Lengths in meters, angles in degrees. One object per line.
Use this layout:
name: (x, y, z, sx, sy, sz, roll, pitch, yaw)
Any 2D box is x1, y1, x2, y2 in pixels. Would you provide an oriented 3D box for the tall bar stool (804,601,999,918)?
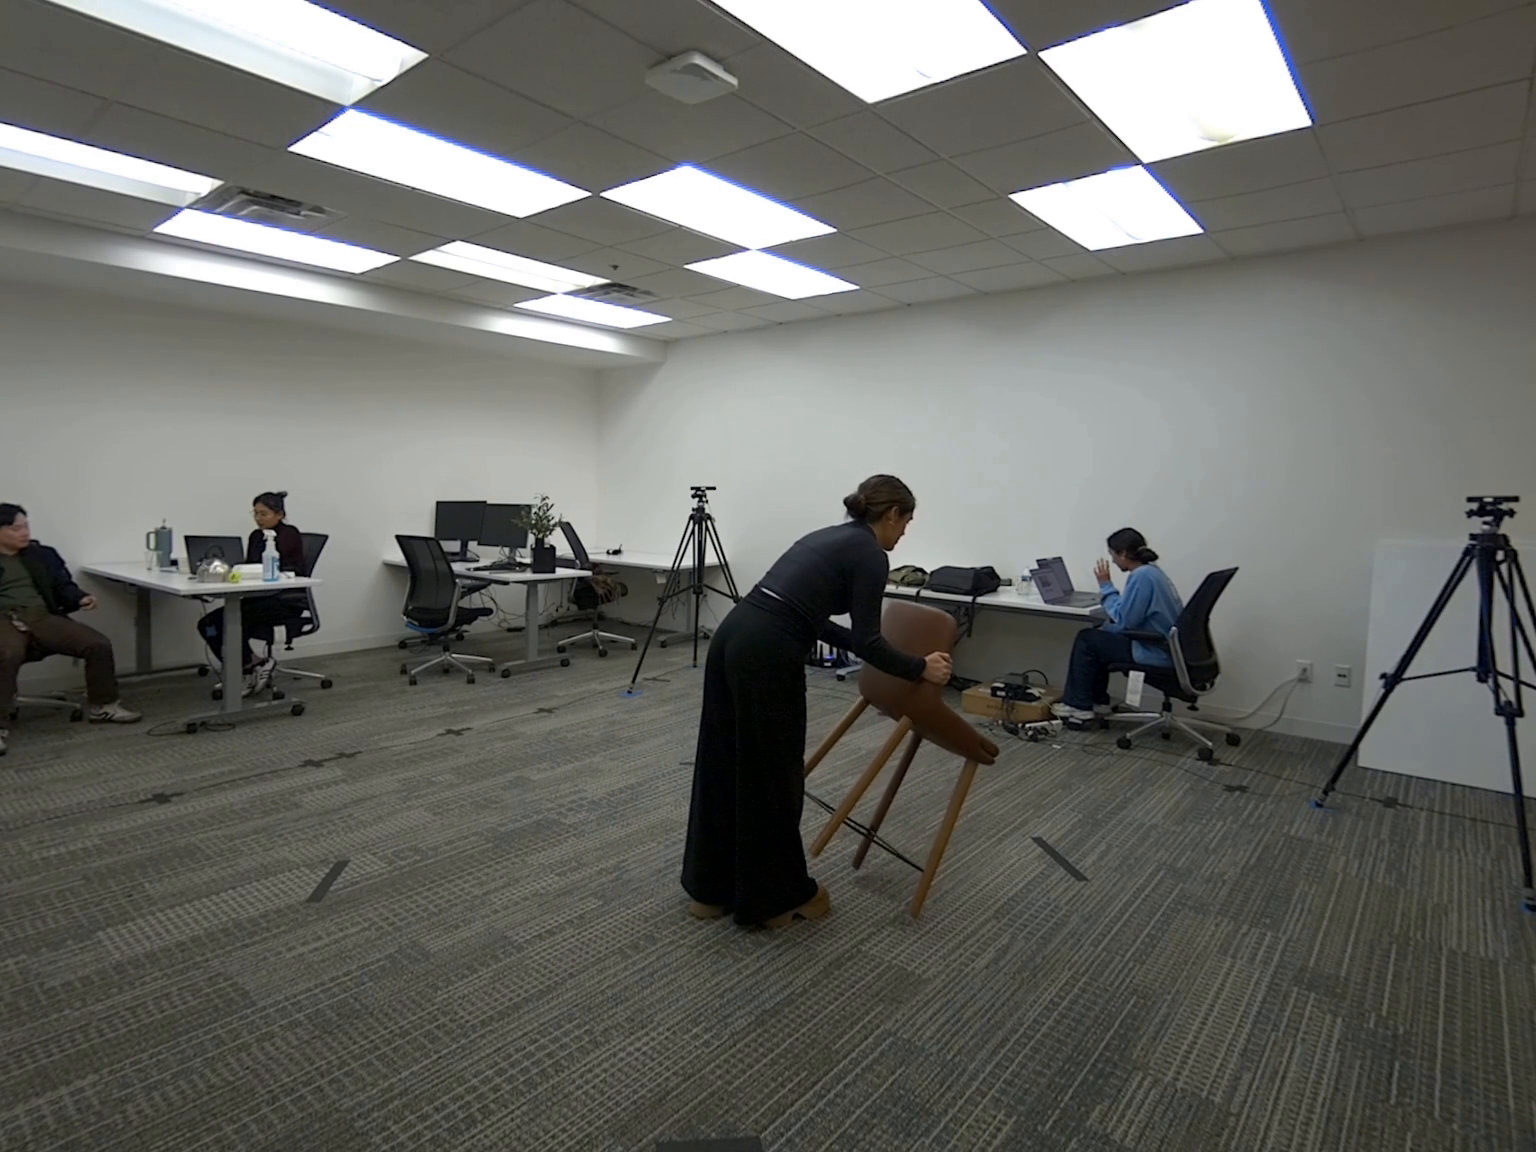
tall bar stool: (0.445, 0.585, 2.892, 0.455, 0.892, 0.467, 34, -9, -20)
